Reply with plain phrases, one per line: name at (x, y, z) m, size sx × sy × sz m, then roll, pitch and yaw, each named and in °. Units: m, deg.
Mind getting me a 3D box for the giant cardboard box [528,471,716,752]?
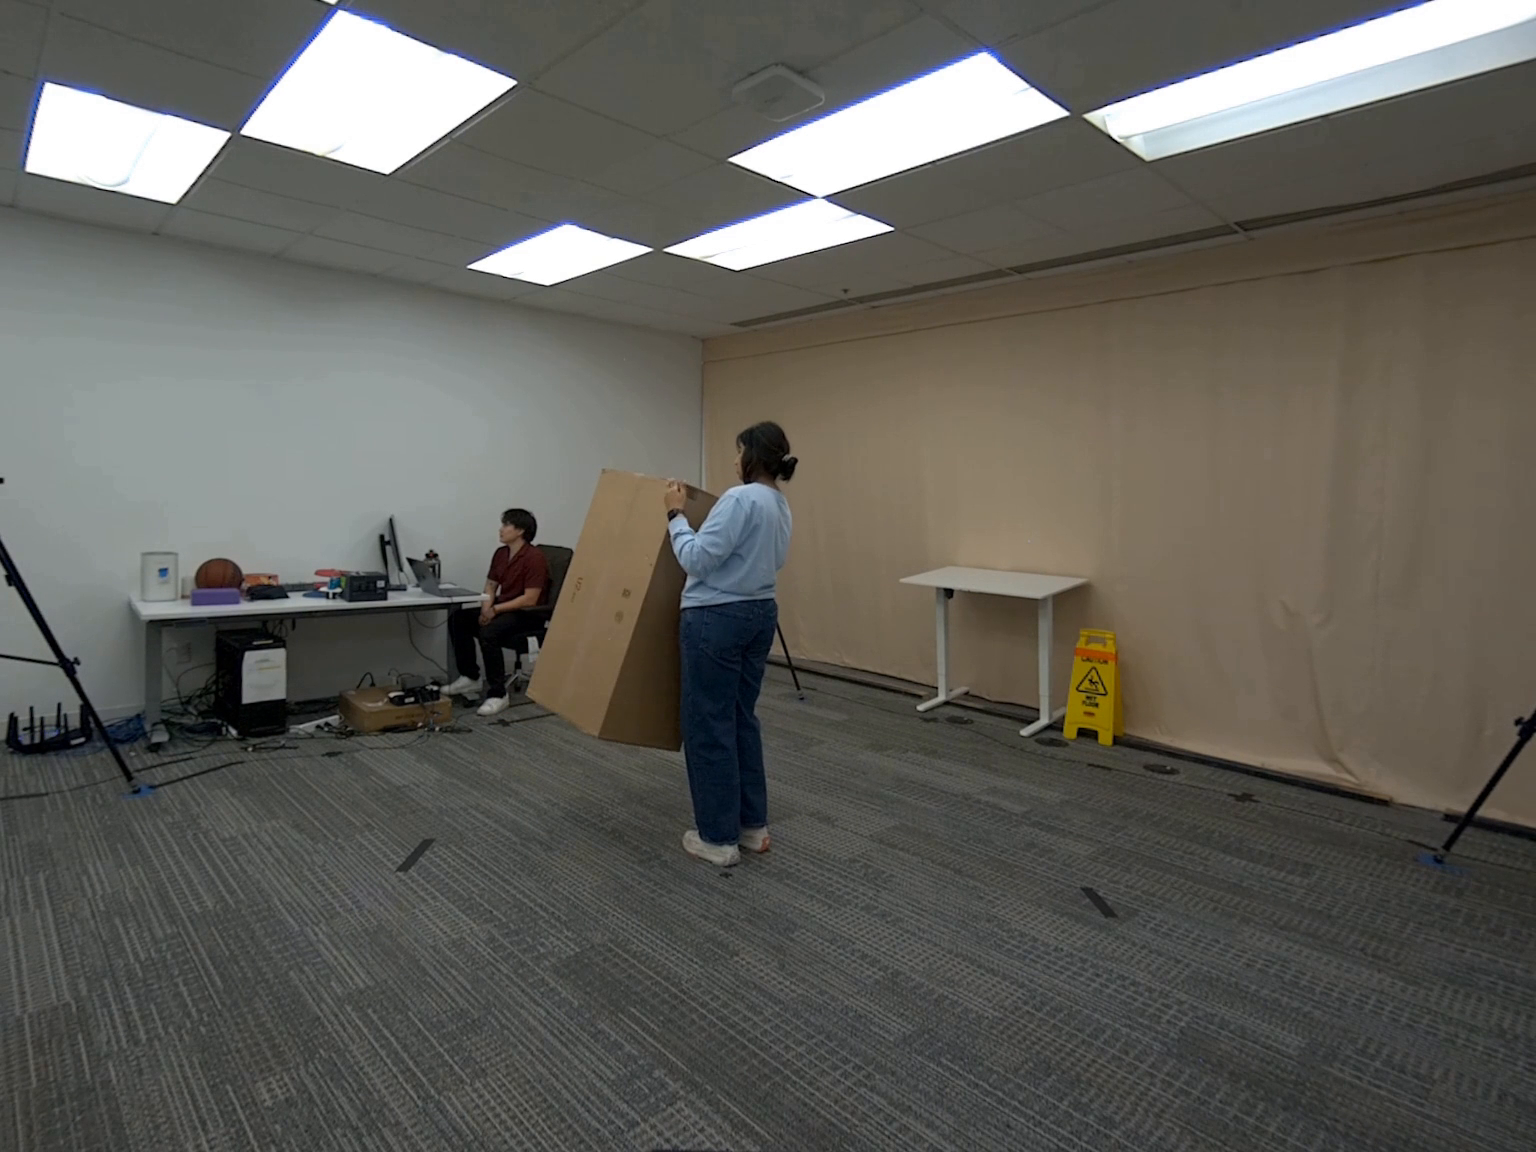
giant cardboard box at (-0.547, 0.121, 3.528) m, size 0.433 × 1.029 × 0.600 m, roll 22°, pitch -5°, yaw -41°
